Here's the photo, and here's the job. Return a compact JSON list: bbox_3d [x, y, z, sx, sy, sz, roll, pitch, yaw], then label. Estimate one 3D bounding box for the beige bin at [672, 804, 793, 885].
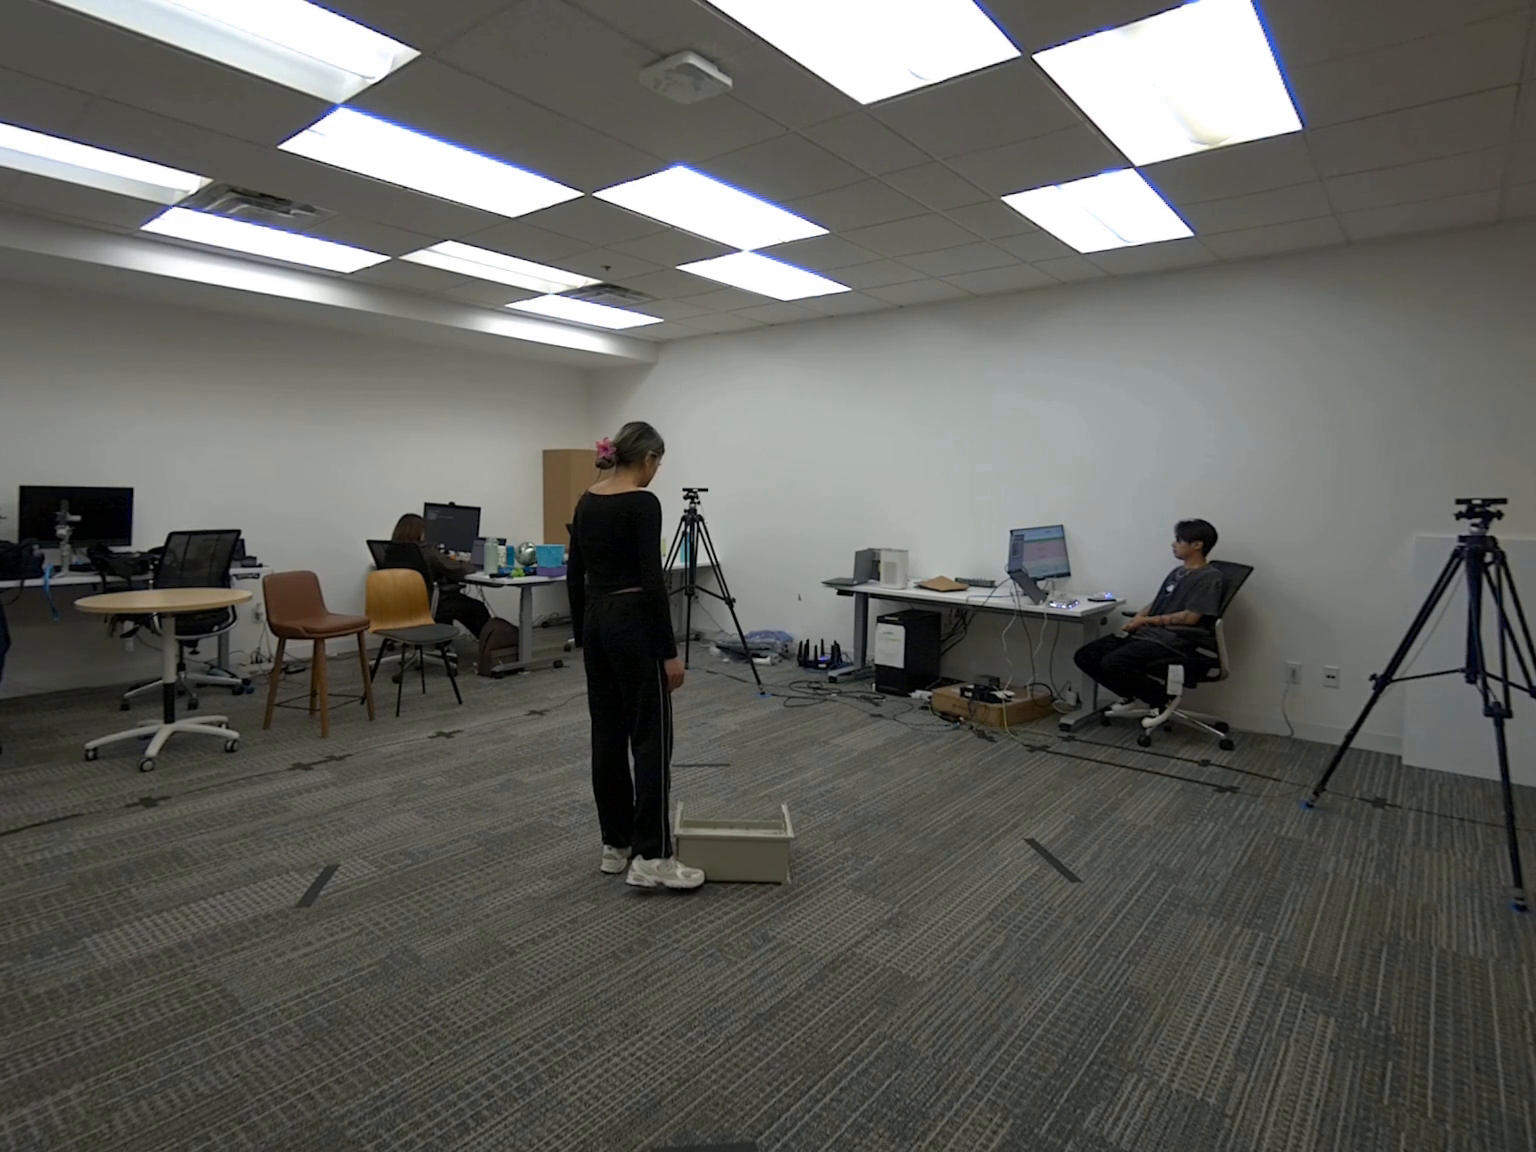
[{"bbox_3d":[-0.141,0.982,3.169,0.421,0.188,0.380,1,5,-3],"label":"beige bin"}]
